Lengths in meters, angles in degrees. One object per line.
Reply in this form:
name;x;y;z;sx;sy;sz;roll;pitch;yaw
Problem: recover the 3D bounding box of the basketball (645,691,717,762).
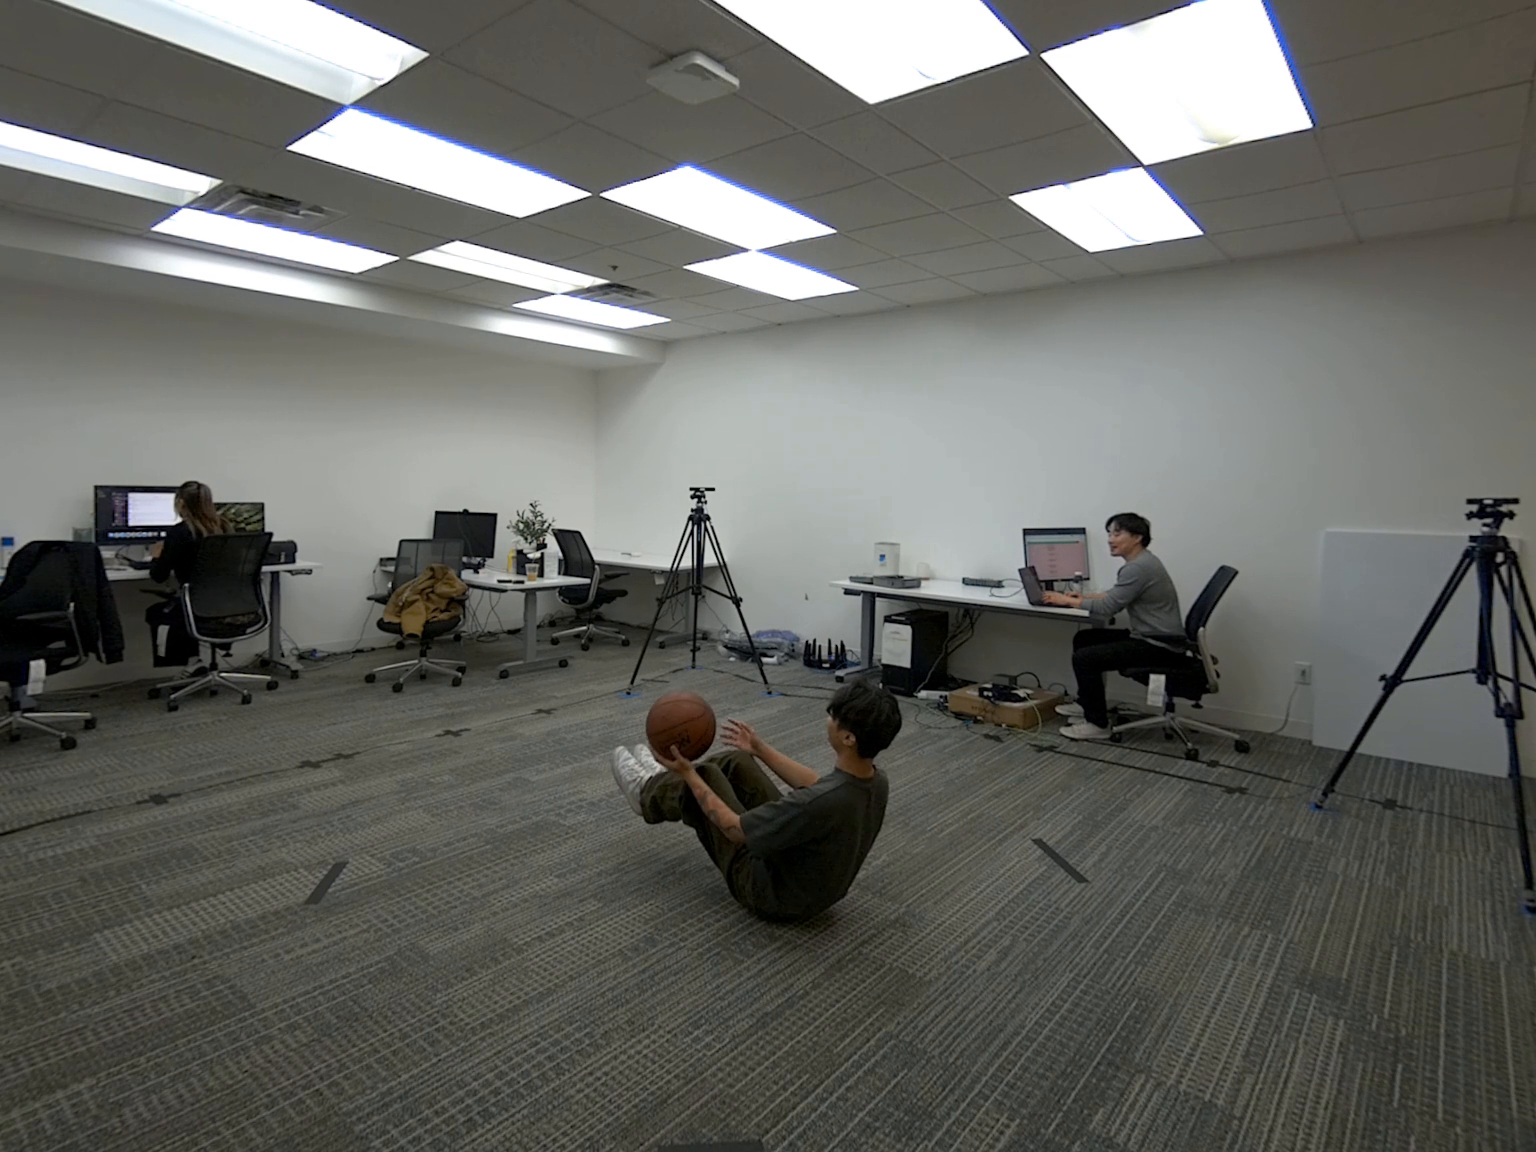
basketball;-0.296;0.519;2.874;0.235;0.235;0.237;1;4;-2
